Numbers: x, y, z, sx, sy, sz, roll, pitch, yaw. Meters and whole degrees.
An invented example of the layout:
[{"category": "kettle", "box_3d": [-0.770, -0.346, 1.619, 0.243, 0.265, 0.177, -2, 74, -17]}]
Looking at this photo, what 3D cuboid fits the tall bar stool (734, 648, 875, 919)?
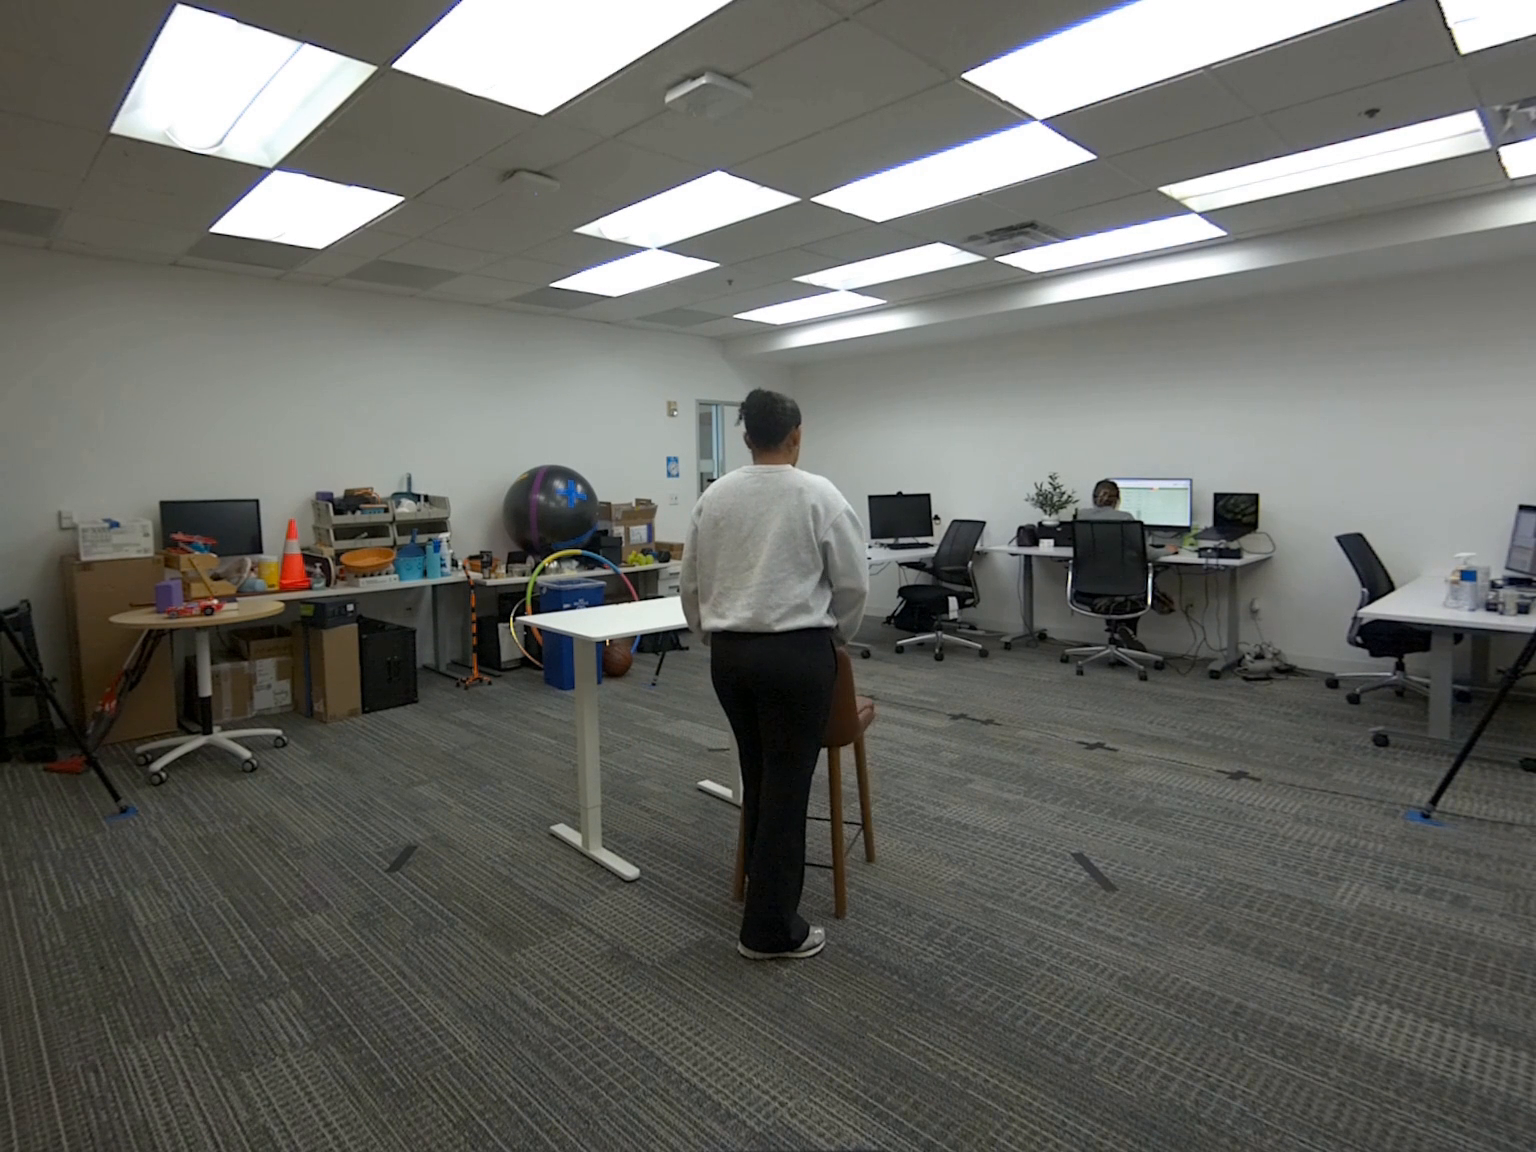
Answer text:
[{"category": "tall bar stool", "box_3d": [0.125, 0.623, 2.949, 0.465, 0.884, 0.461, 1, 7, 20]}]
